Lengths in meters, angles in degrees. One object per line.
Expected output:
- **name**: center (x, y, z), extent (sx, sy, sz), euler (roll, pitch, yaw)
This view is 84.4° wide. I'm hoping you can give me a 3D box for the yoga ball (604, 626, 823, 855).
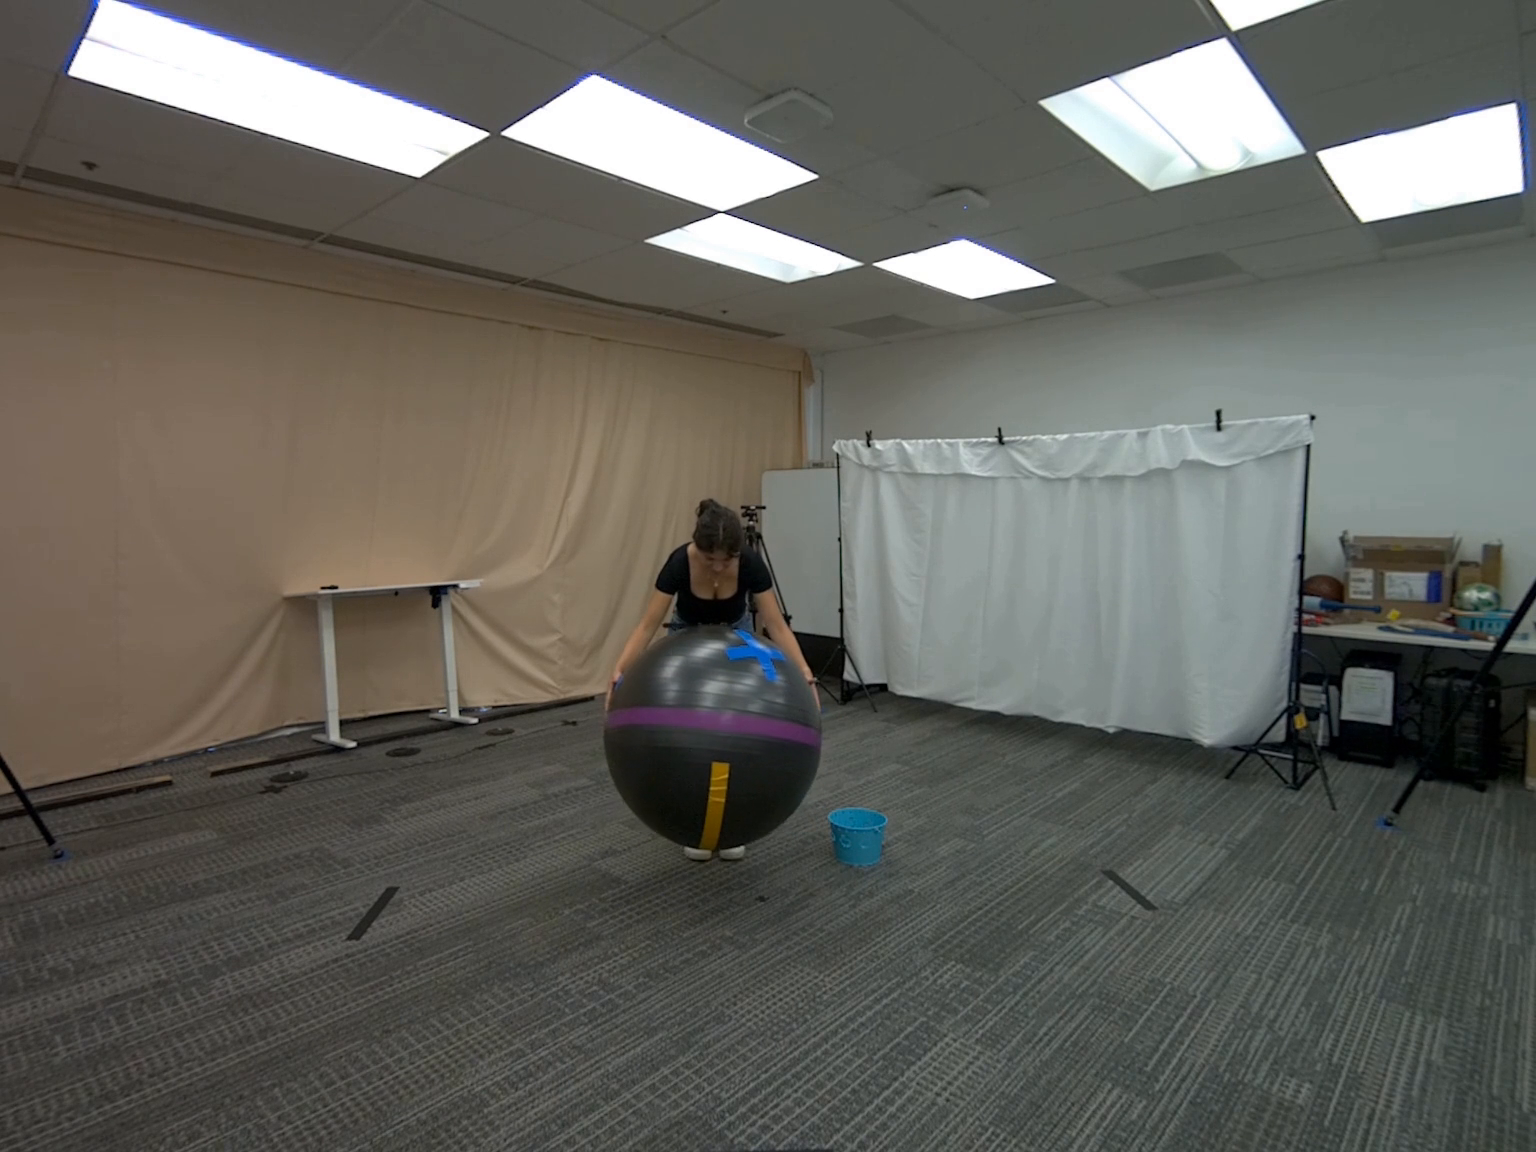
- **yoga ball**: center (-0.200, 0.568, 2.922), extent (0.757, 0.756, 0.760), euler (0, 4, -2)
